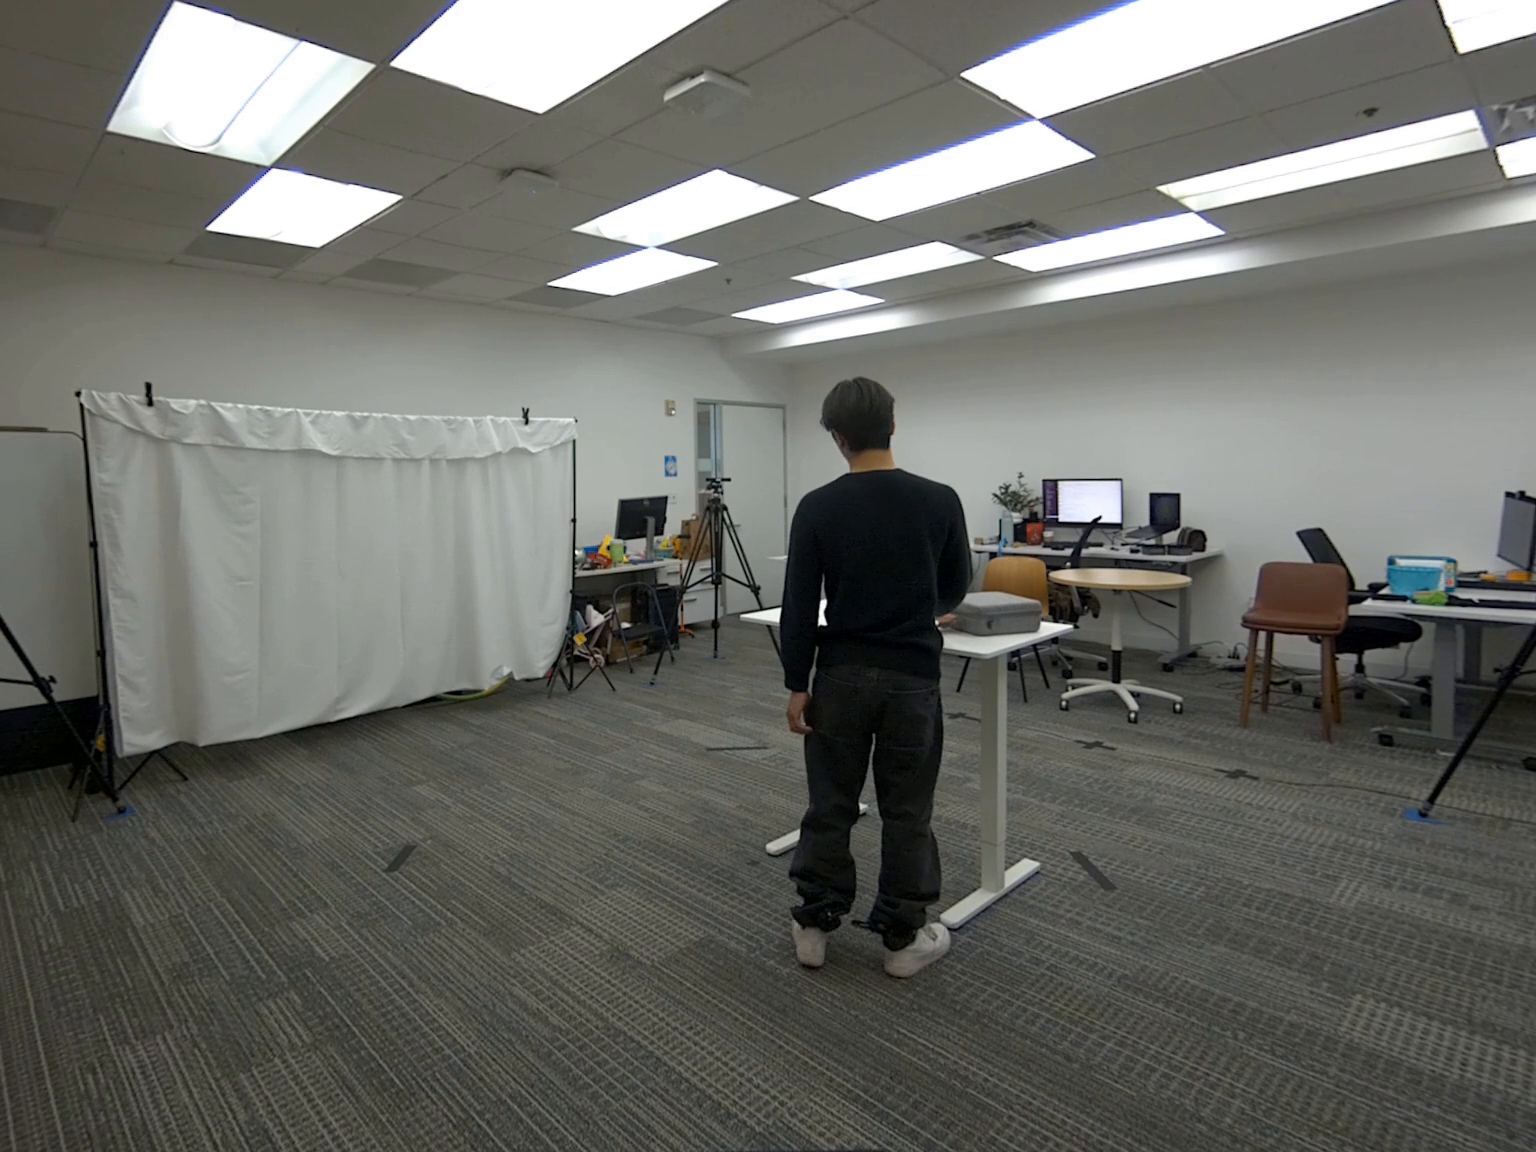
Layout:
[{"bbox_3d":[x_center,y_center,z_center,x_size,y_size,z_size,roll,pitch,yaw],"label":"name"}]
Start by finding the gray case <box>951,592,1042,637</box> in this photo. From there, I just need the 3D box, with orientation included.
[{"bbox_3d":[0.744,0.123,2.860,0.256,0.104,0.262,-3,8,-18],"label":"gray case"}]
